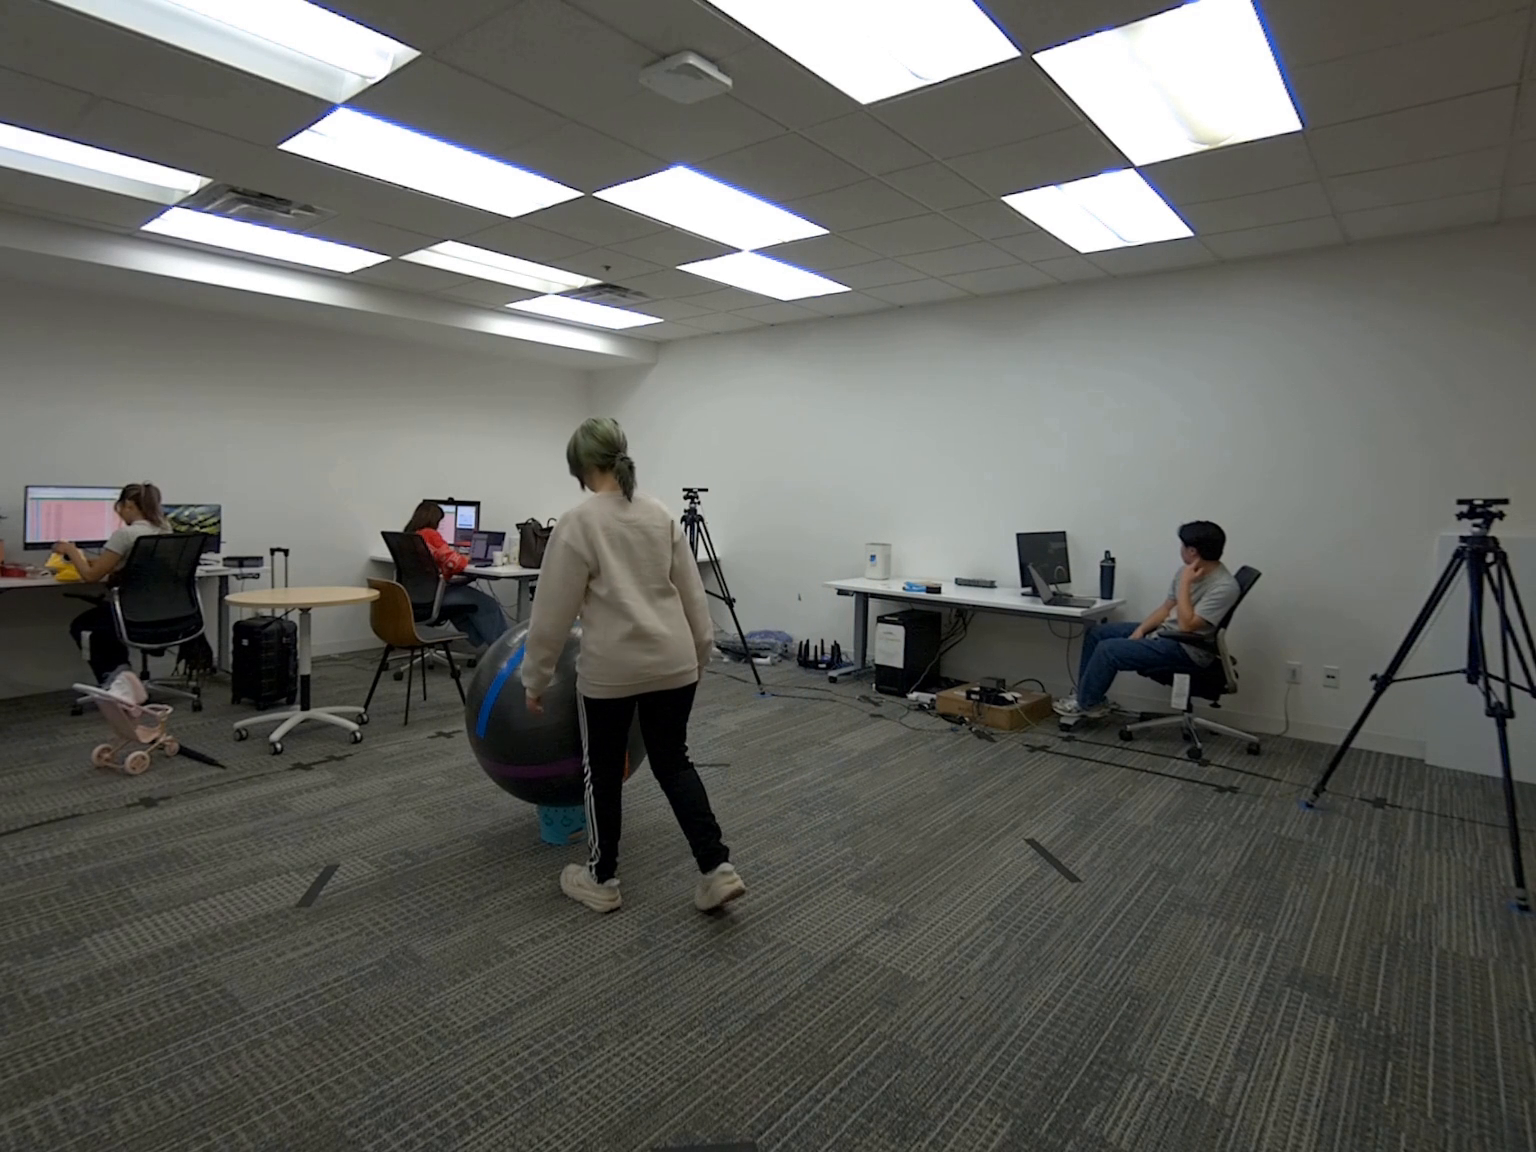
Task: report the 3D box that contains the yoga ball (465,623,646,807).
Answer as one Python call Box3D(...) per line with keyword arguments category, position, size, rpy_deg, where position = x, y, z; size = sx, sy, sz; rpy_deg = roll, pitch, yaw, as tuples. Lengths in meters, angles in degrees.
Box3D(category="yoga ball", position=(-0.820, 0.523, 3.373), size=(0.757, 0.755, 0.762), rpy_deg=(1, 4, -2))
